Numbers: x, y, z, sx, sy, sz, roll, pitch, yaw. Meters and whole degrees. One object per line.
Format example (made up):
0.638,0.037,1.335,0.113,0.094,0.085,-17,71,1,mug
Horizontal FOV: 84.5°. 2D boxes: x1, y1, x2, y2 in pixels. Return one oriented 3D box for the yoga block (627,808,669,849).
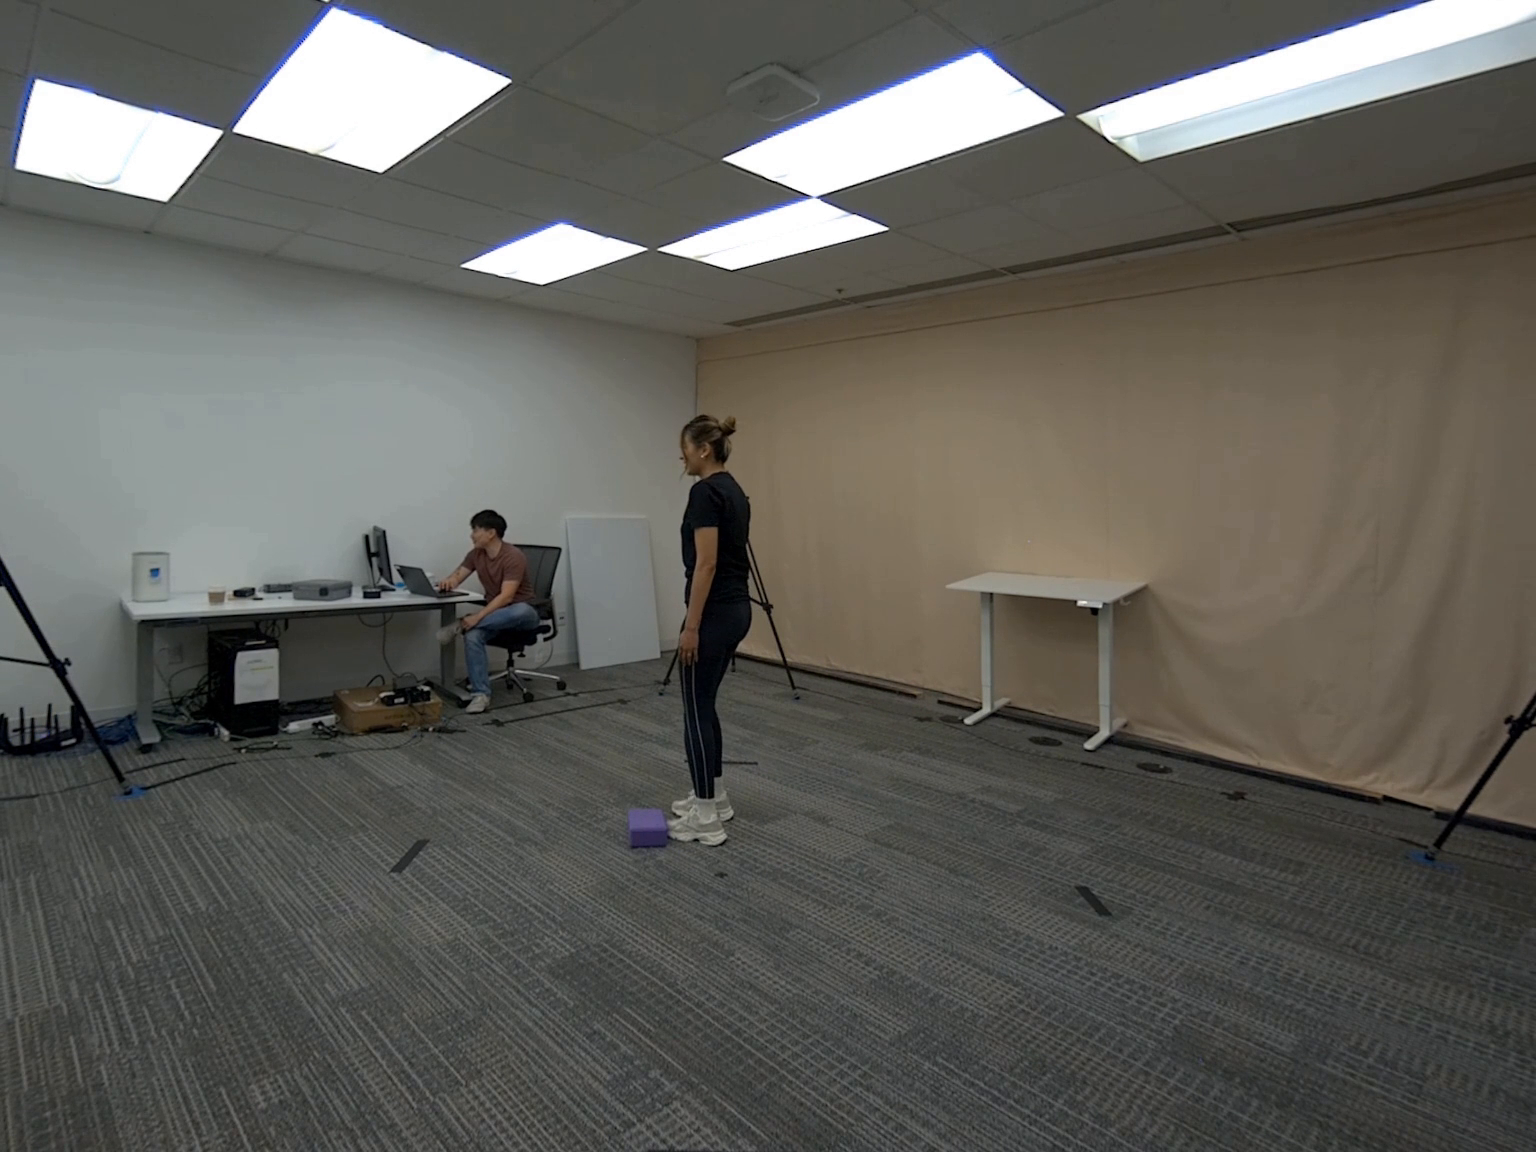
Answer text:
-0.499,1.023,3.438,0.148,0.076,0.232,1,6,-10,yoga block
